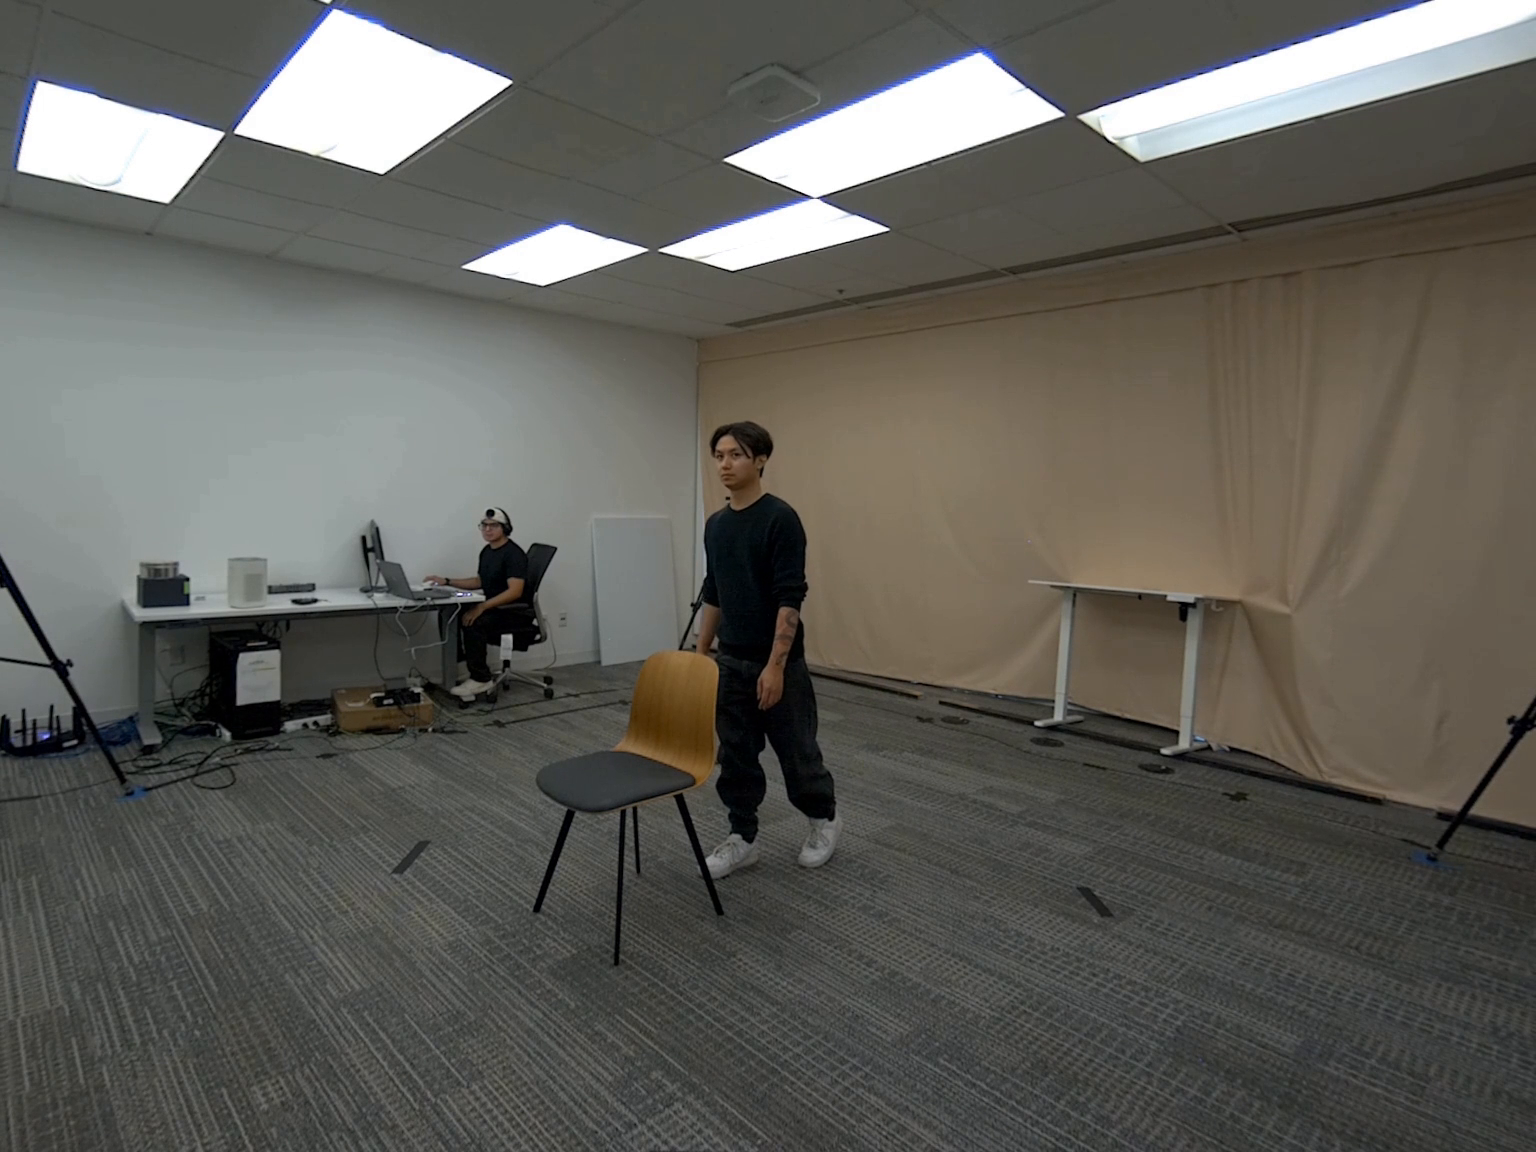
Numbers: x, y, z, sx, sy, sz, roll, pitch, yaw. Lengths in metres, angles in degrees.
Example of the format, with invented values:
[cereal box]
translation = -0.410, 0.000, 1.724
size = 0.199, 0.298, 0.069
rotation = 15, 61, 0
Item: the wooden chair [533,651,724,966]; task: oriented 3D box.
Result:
[wooden chair]
translation = -0.465, 0.705, 2.766
size = 0.490, 0.877, 0.510
rotation = 4, 0, 43
